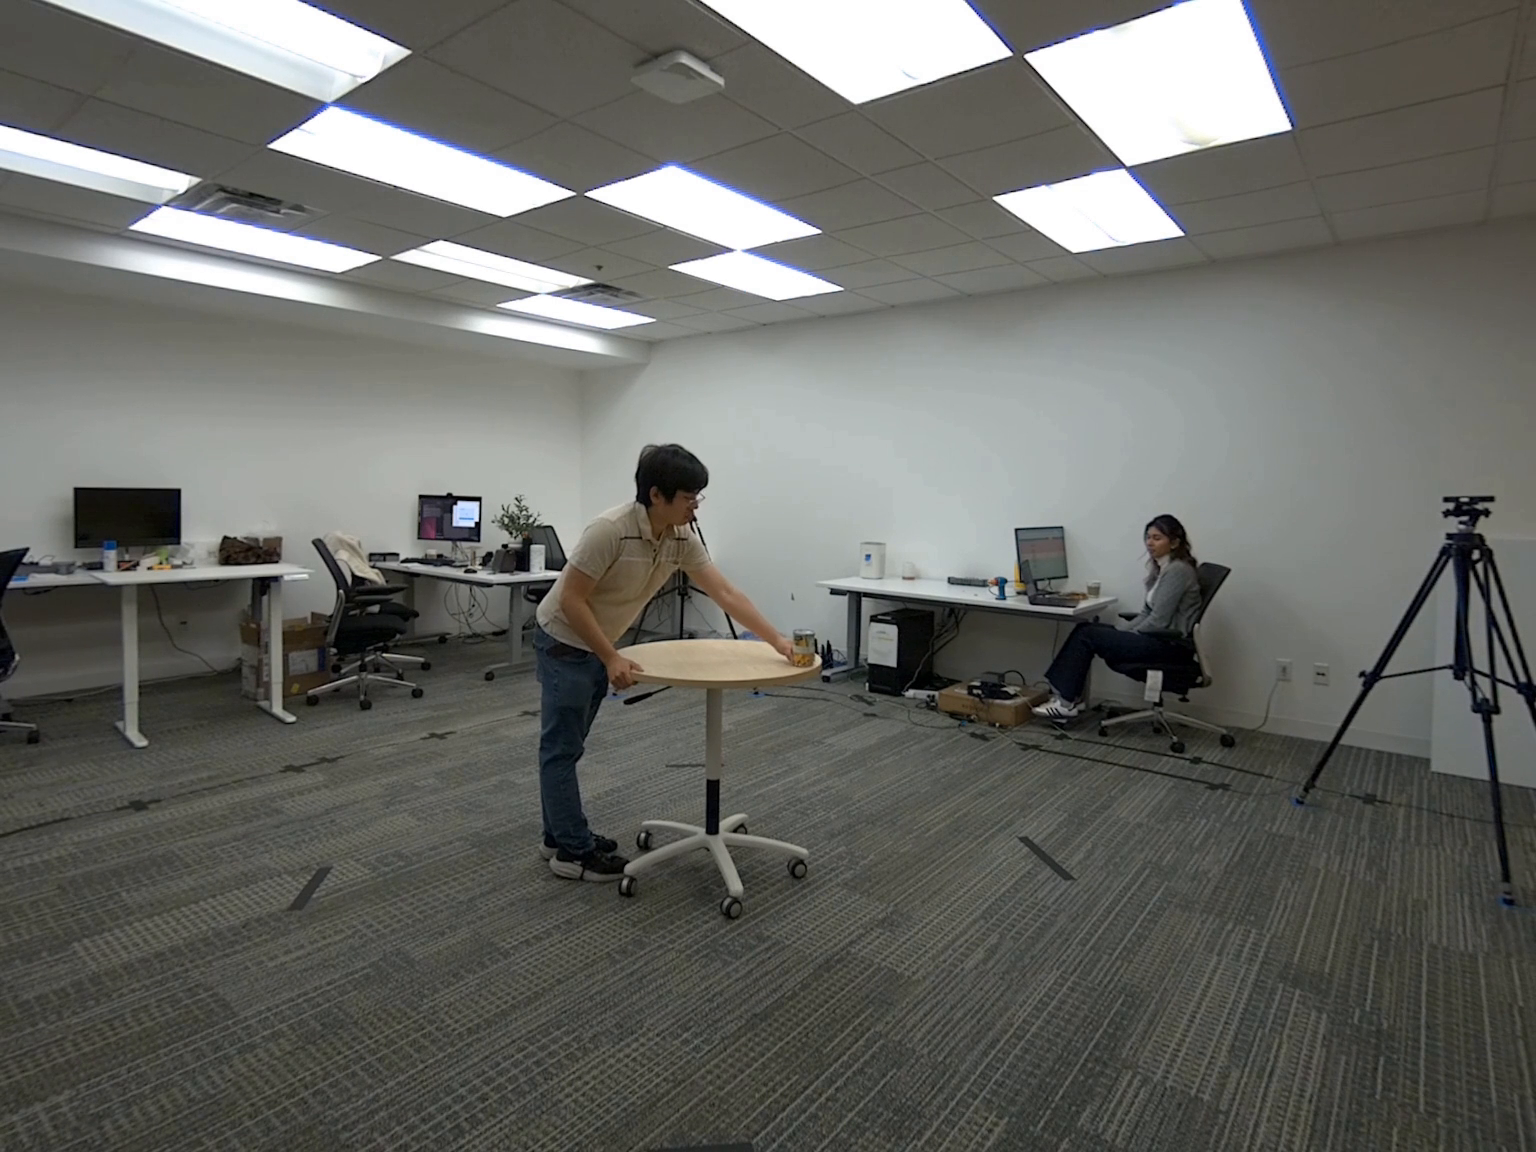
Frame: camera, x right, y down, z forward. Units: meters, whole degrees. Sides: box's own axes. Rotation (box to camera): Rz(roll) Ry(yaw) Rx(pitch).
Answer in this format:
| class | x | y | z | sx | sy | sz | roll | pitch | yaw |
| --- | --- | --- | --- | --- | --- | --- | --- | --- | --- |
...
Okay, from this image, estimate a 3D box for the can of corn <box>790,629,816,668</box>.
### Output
| class | x | y | z | sx | sy | sz | roll | pitch | yaw |
| --- | --- | --- | --- | --- | --- | --- | --- | --- | --- |
| can of corn | 0.104 | 0.240 | 2.929 | 0.074 | 0.110 | 0.075 | -2 | 7 | -2 |
